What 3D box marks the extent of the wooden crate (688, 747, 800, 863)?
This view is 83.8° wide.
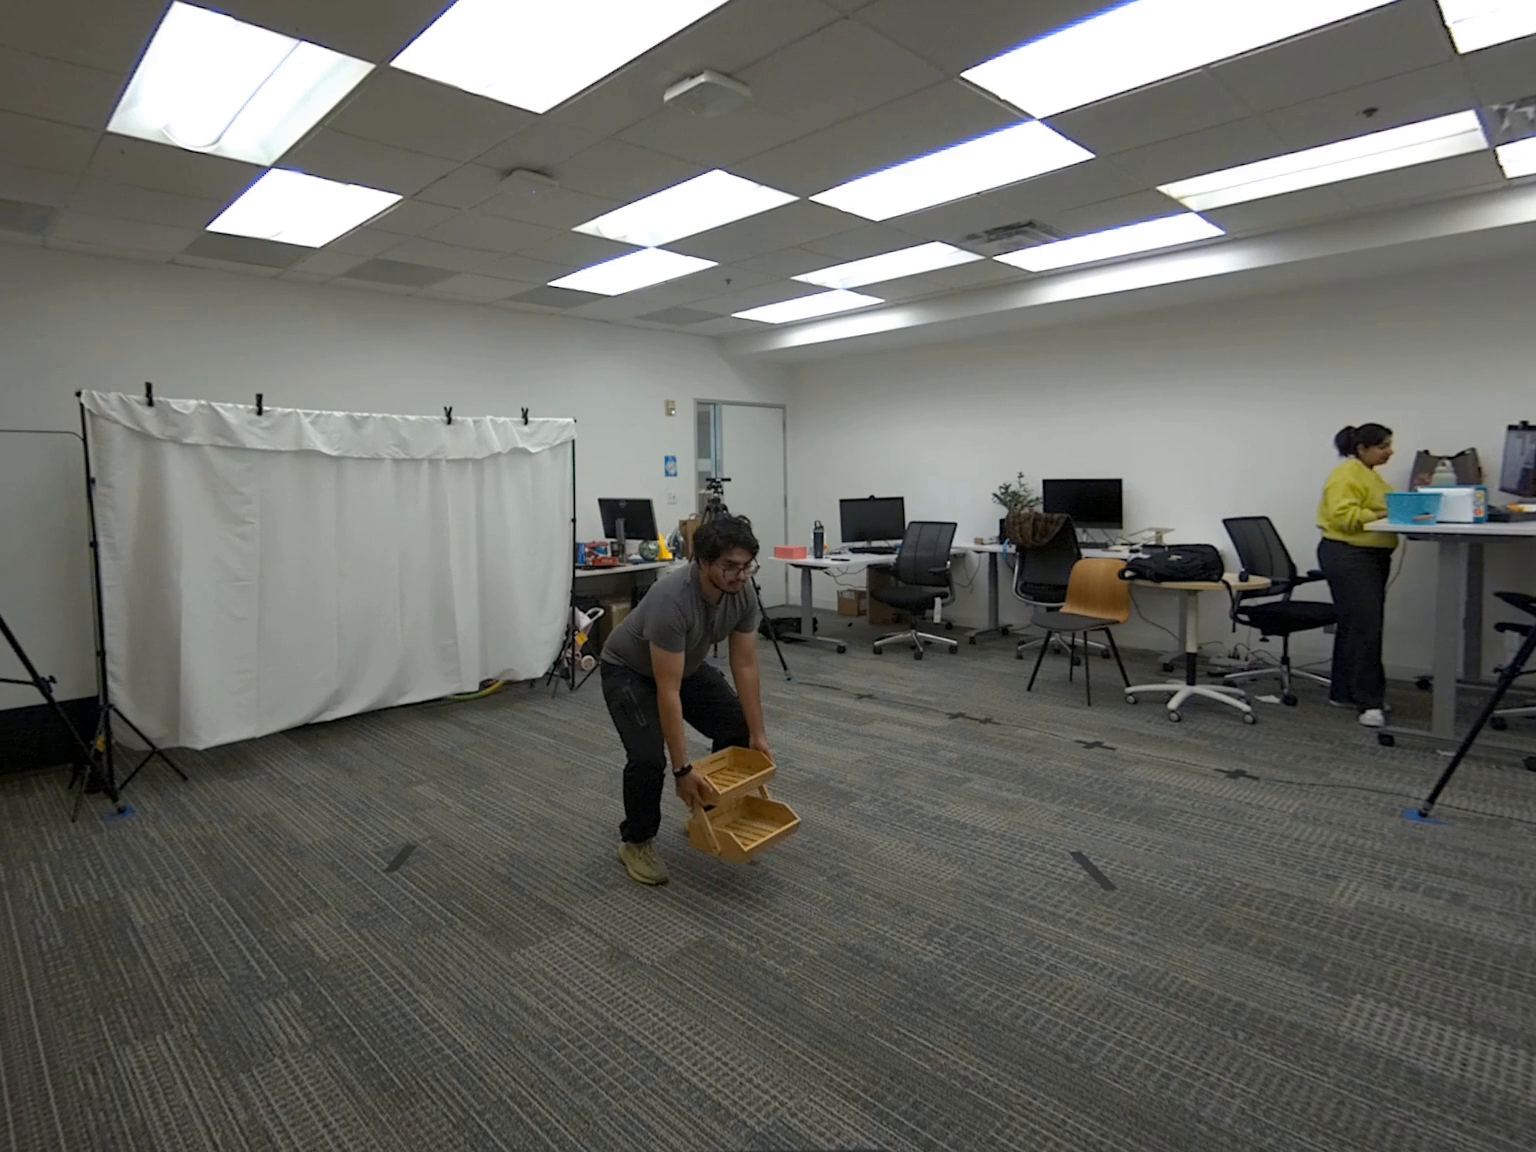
[{"bbox_3d":[-0.107,0.765,2.937,0.310,0.272,0.316,-1,5,40],"label":"wooden crate"}]
